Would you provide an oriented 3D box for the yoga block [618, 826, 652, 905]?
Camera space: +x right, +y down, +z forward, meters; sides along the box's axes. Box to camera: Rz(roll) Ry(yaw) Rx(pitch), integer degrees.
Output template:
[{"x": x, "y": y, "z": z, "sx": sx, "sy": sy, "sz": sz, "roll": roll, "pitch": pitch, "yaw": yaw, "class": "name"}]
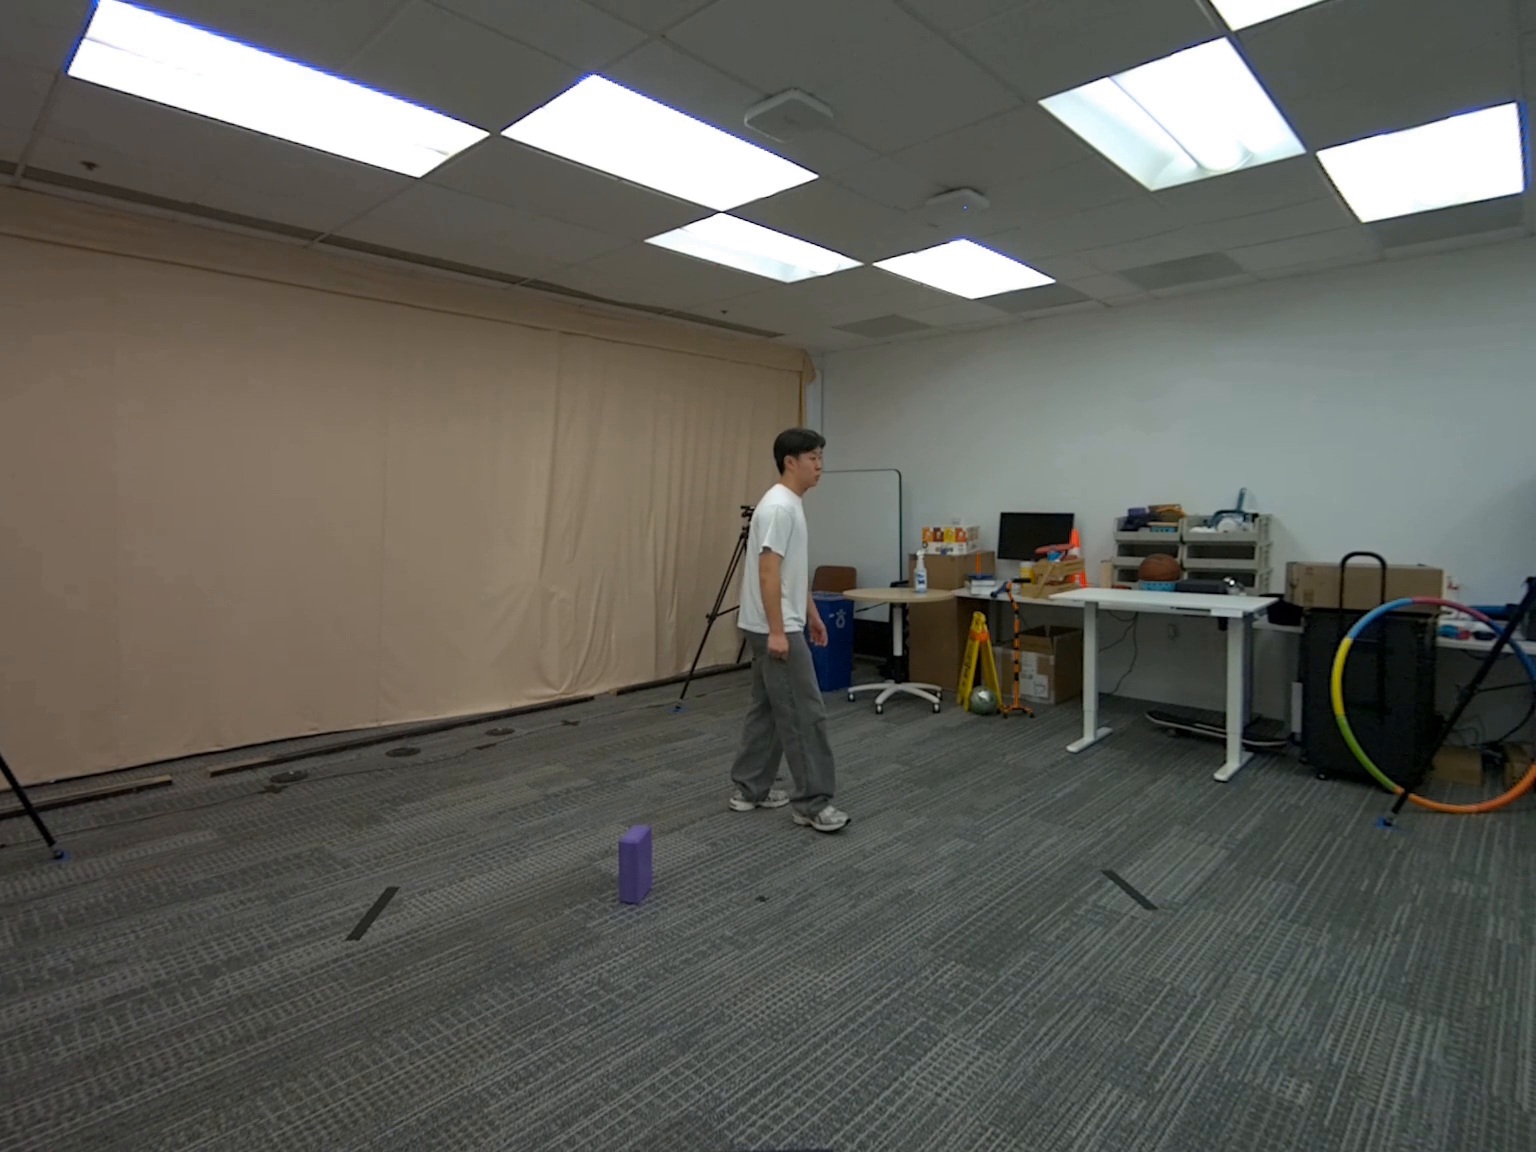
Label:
[{"x": -0.469, "y": 1.031, "z": 3.008, "sx": 0.077, "sy": 0.229, "sz": 0.147, "roll": 0, "pitch": 3, "yaw": 13, "class": "yoga block"}]
